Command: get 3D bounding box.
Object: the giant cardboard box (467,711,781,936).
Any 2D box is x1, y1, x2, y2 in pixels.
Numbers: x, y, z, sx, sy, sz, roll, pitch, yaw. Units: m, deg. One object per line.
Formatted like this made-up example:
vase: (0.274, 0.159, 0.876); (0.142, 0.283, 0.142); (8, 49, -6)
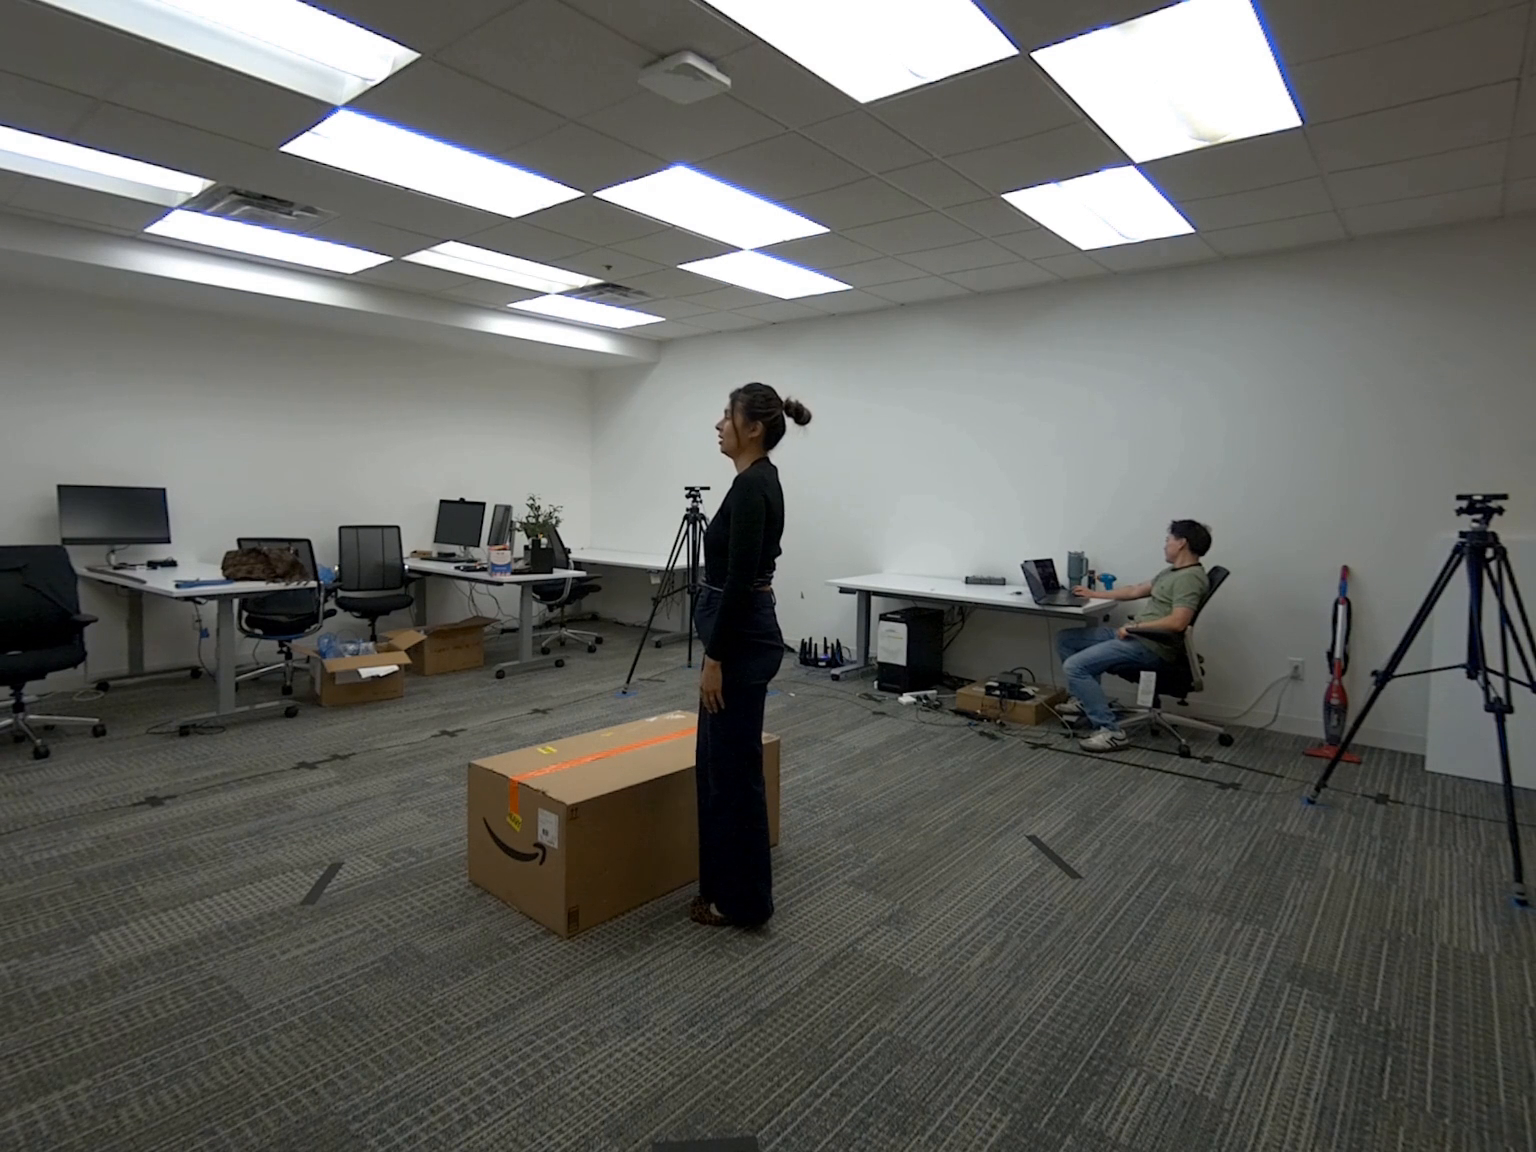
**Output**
giant cardboard box: (-0.516, 0.845, 3.150); (0.597, 0.424, 0.995); (6, 7, 42)
